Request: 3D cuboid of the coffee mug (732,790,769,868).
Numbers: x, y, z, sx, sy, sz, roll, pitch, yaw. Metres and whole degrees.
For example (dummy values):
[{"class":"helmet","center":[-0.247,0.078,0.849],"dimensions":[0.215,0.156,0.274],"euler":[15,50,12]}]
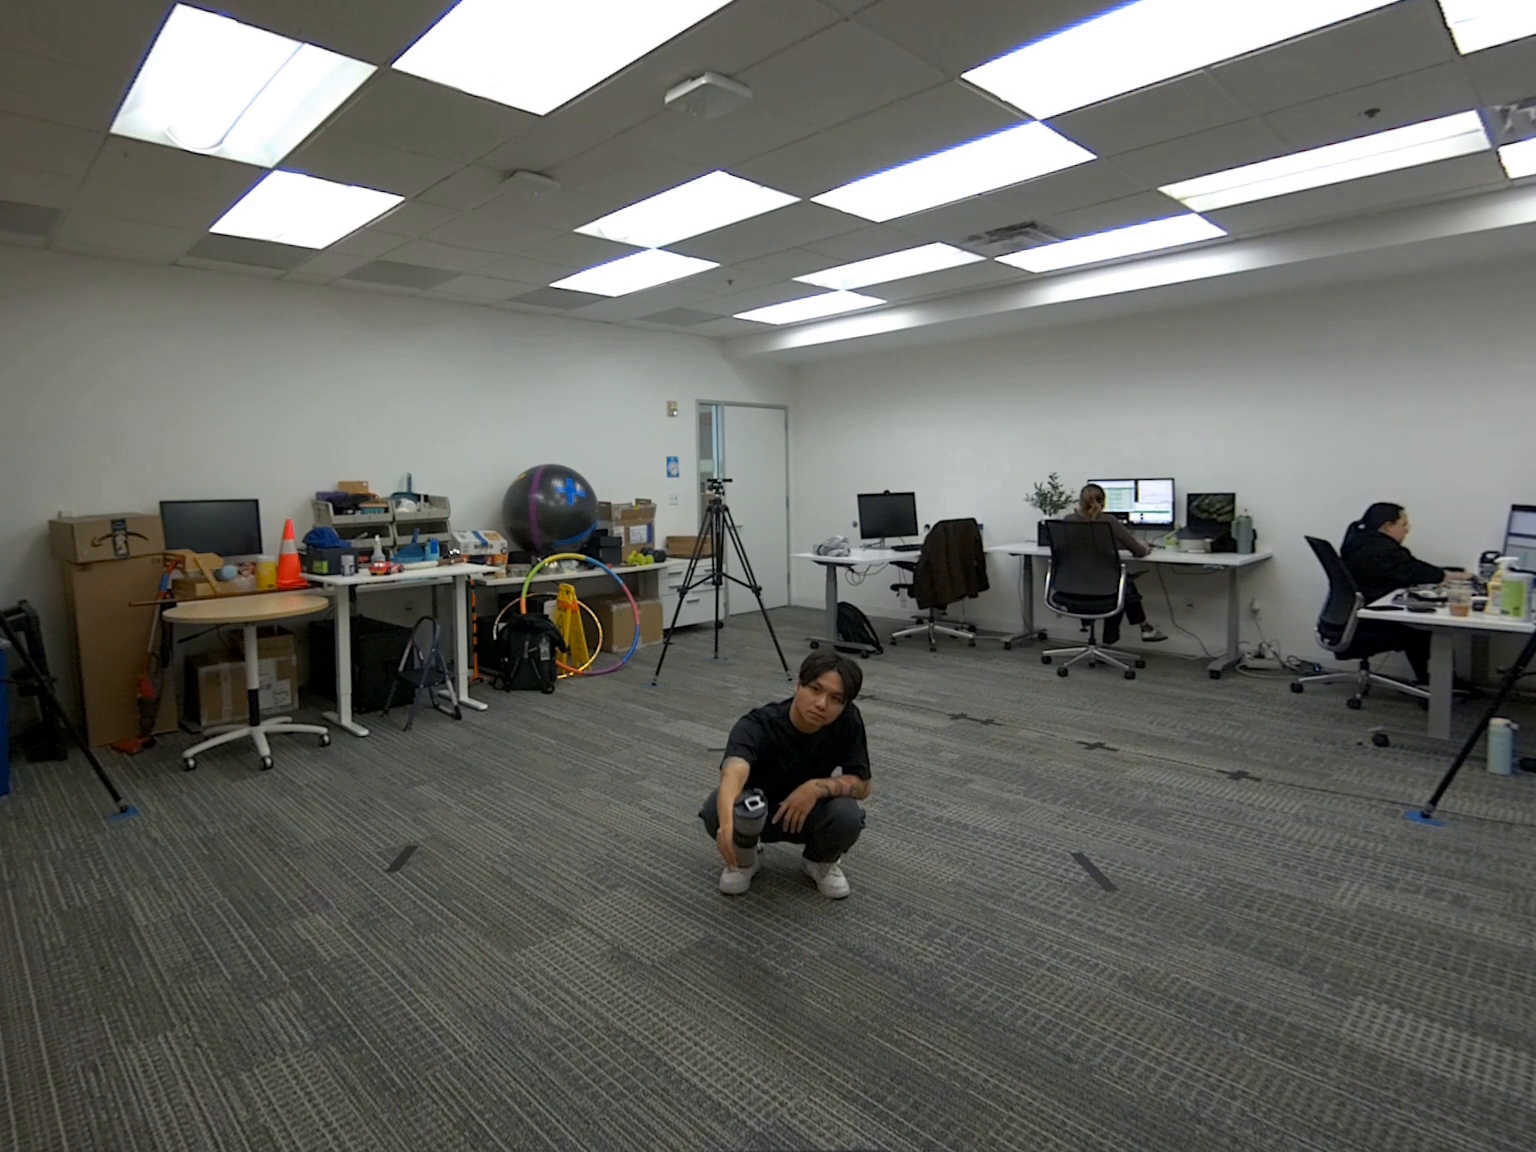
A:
[{"class":"coffee mug","center":[-0.030,0.654,2.213],"dimensions":[0.091,0.198,0.121],"euler":[19,33,29]}]
